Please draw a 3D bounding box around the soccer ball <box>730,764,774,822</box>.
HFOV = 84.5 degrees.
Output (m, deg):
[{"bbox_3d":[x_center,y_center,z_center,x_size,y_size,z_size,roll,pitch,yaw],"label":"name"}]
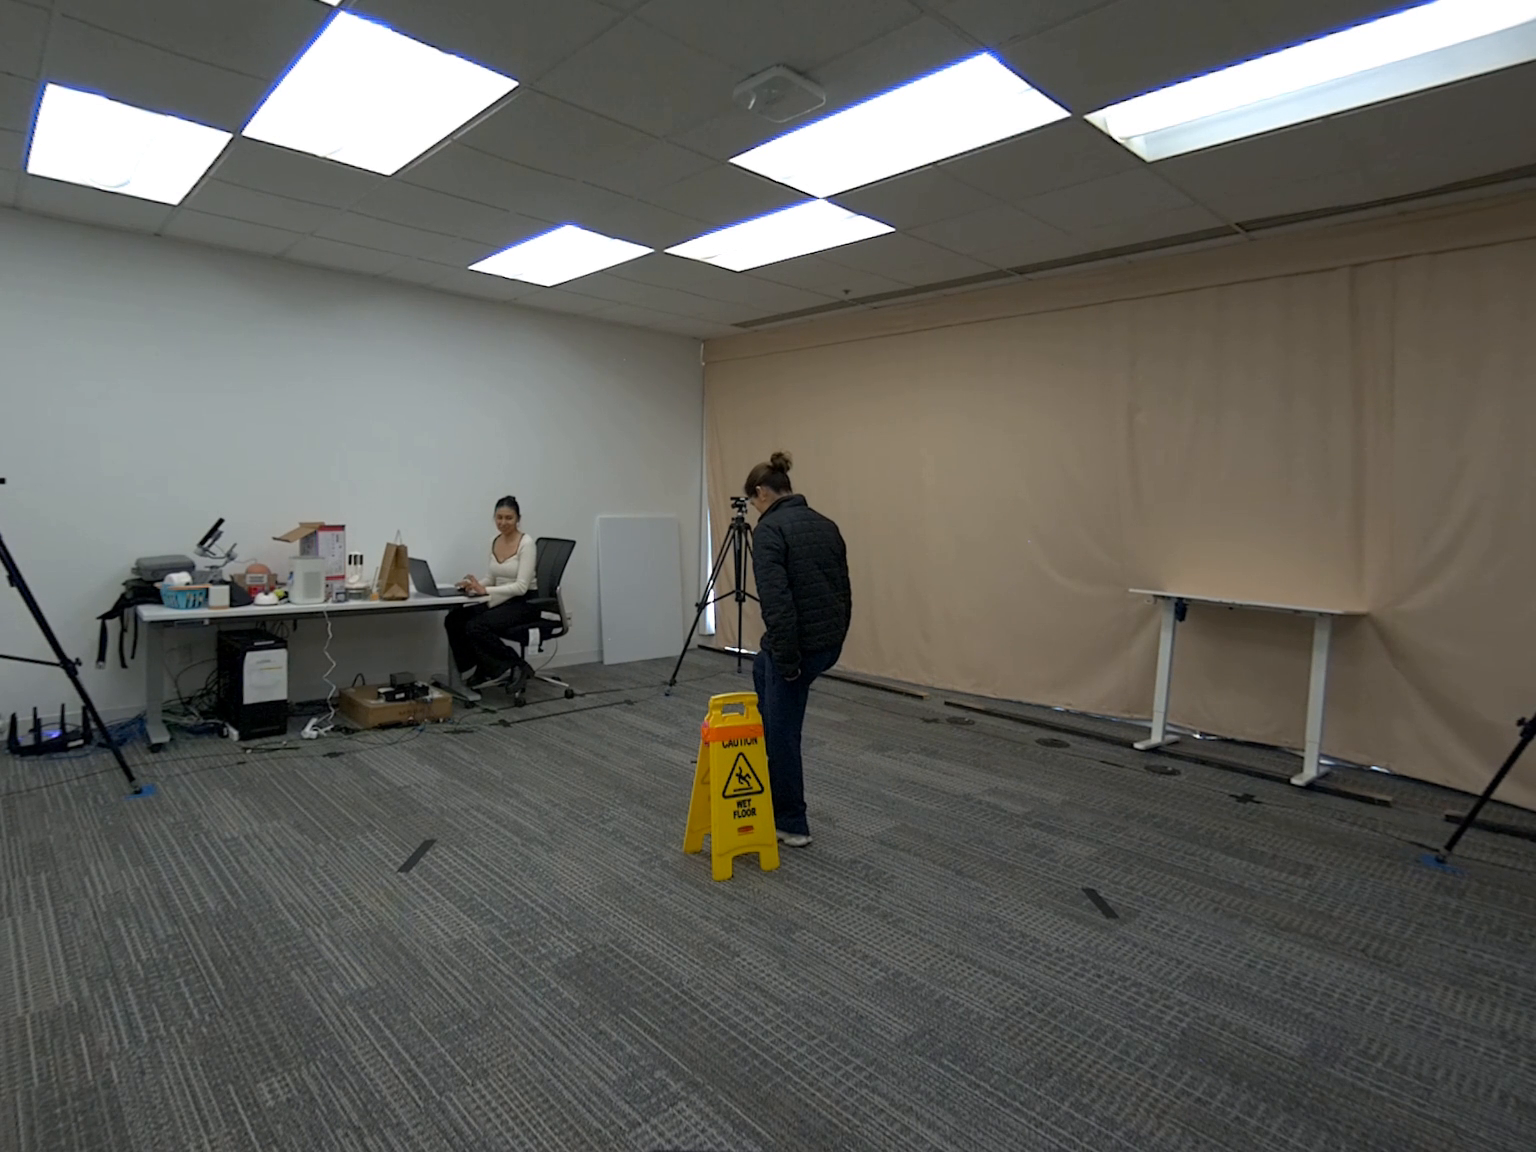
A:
[{"bbox_3d":[-0.075,0.961,3.761,0.187,0.187,0.188,1,4,-1],"label":"soccer ball"}]
